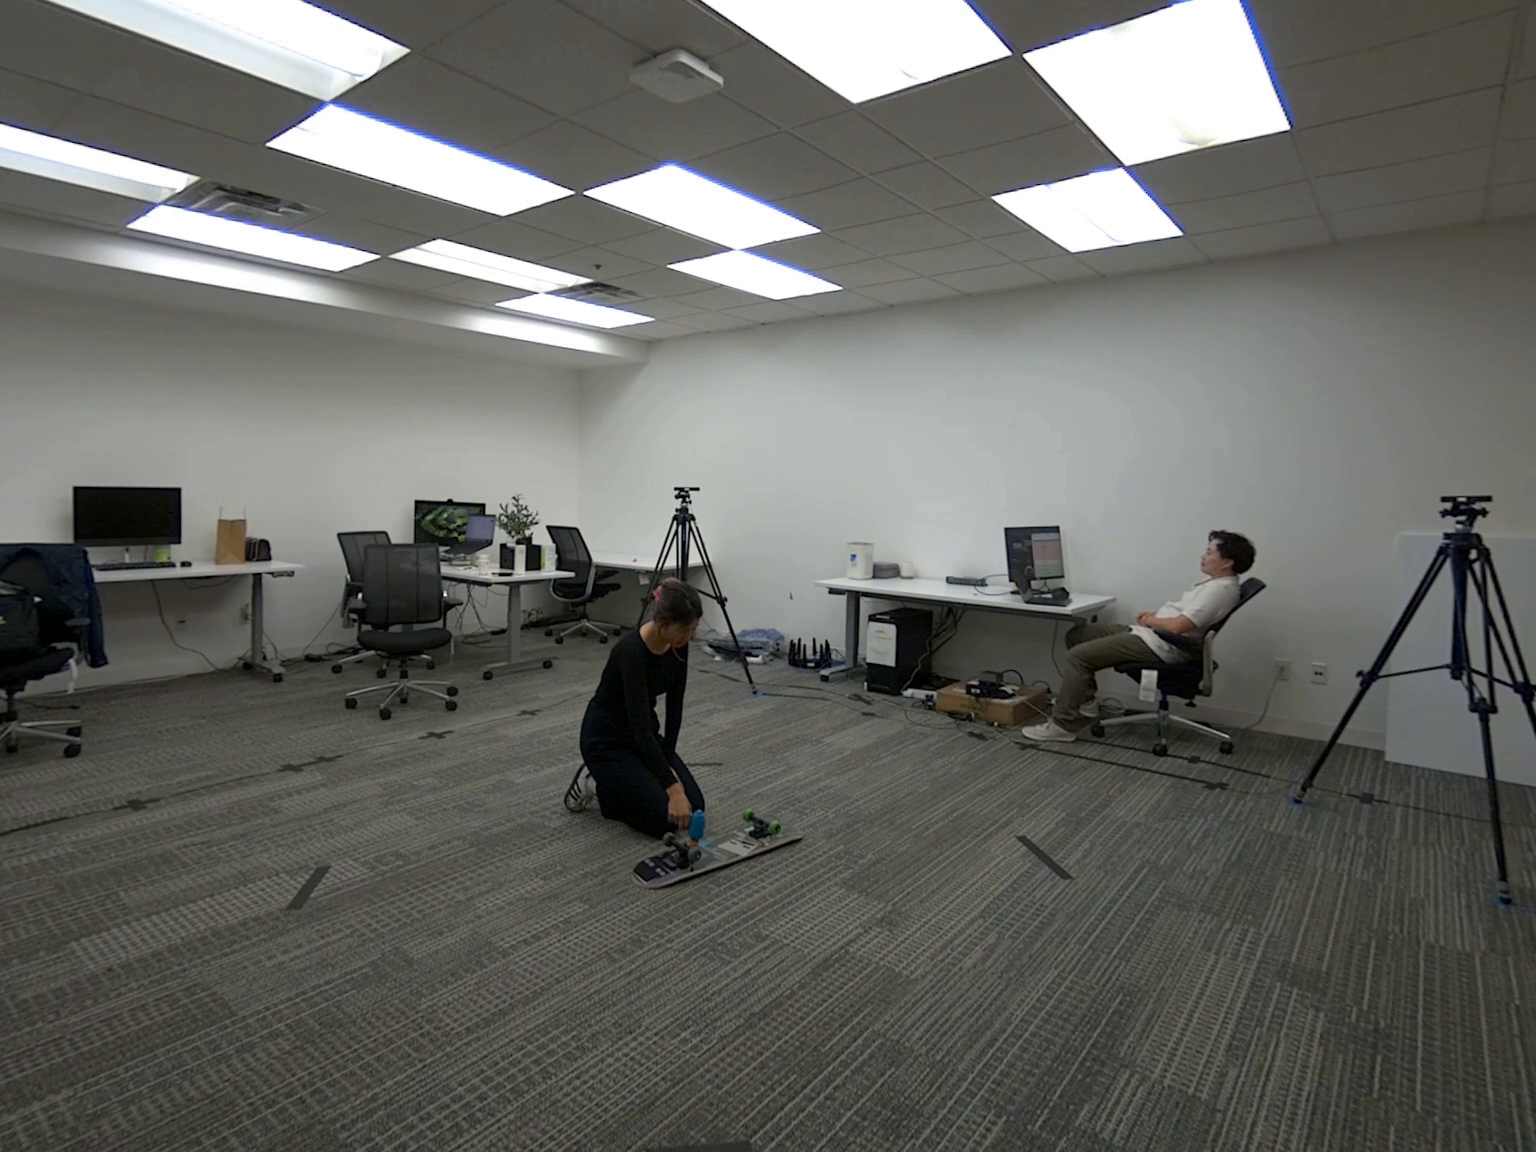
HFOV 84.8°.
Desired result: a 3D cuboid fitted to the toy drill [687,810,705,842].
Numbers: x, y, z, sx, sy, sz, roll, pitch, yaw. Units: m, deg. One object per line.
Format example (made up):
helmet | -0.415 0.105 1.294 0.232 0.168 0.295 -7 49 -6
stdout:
toy drill | -0.312 0.925 3.105 0.150 0.168 0.060 12 9 21
